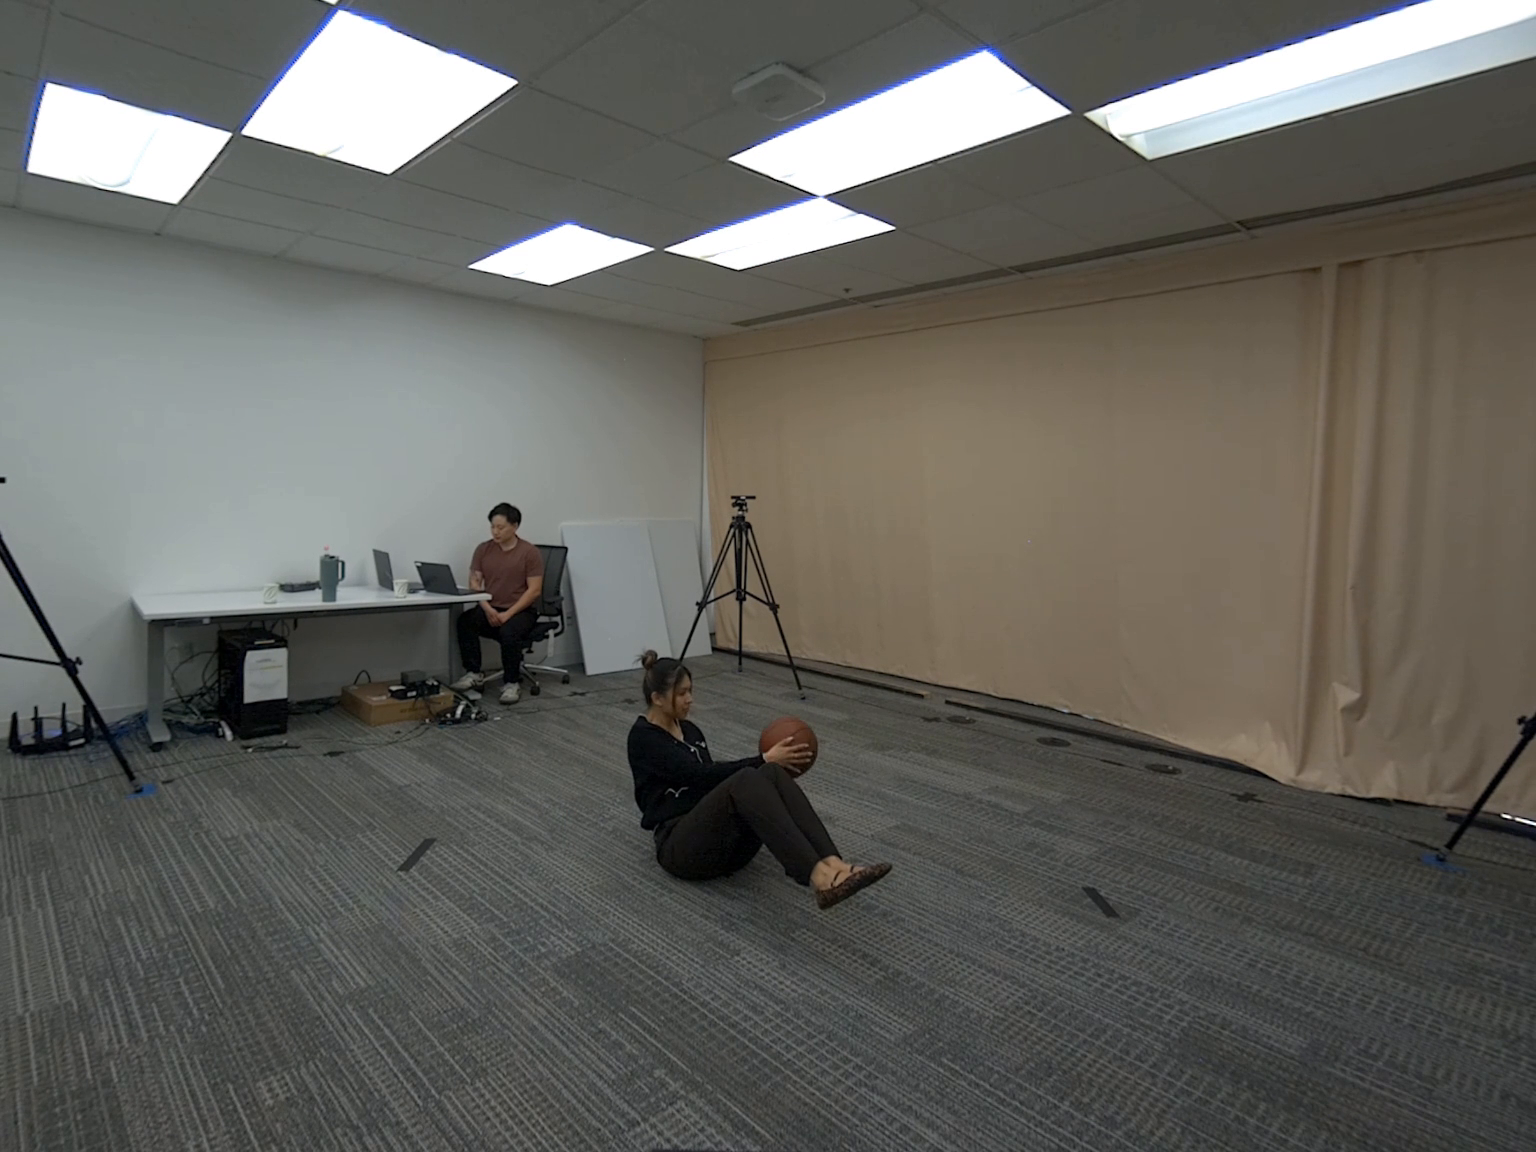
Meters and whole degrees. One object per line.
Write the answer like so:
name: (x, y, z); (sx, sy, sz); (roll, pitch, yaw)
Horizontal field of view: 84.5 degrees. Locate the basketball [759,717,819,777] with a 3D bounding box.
basketball: (0.059, 0.675, 3.324); (0.236, 0.235, 0.237); (1, 4, -1)
